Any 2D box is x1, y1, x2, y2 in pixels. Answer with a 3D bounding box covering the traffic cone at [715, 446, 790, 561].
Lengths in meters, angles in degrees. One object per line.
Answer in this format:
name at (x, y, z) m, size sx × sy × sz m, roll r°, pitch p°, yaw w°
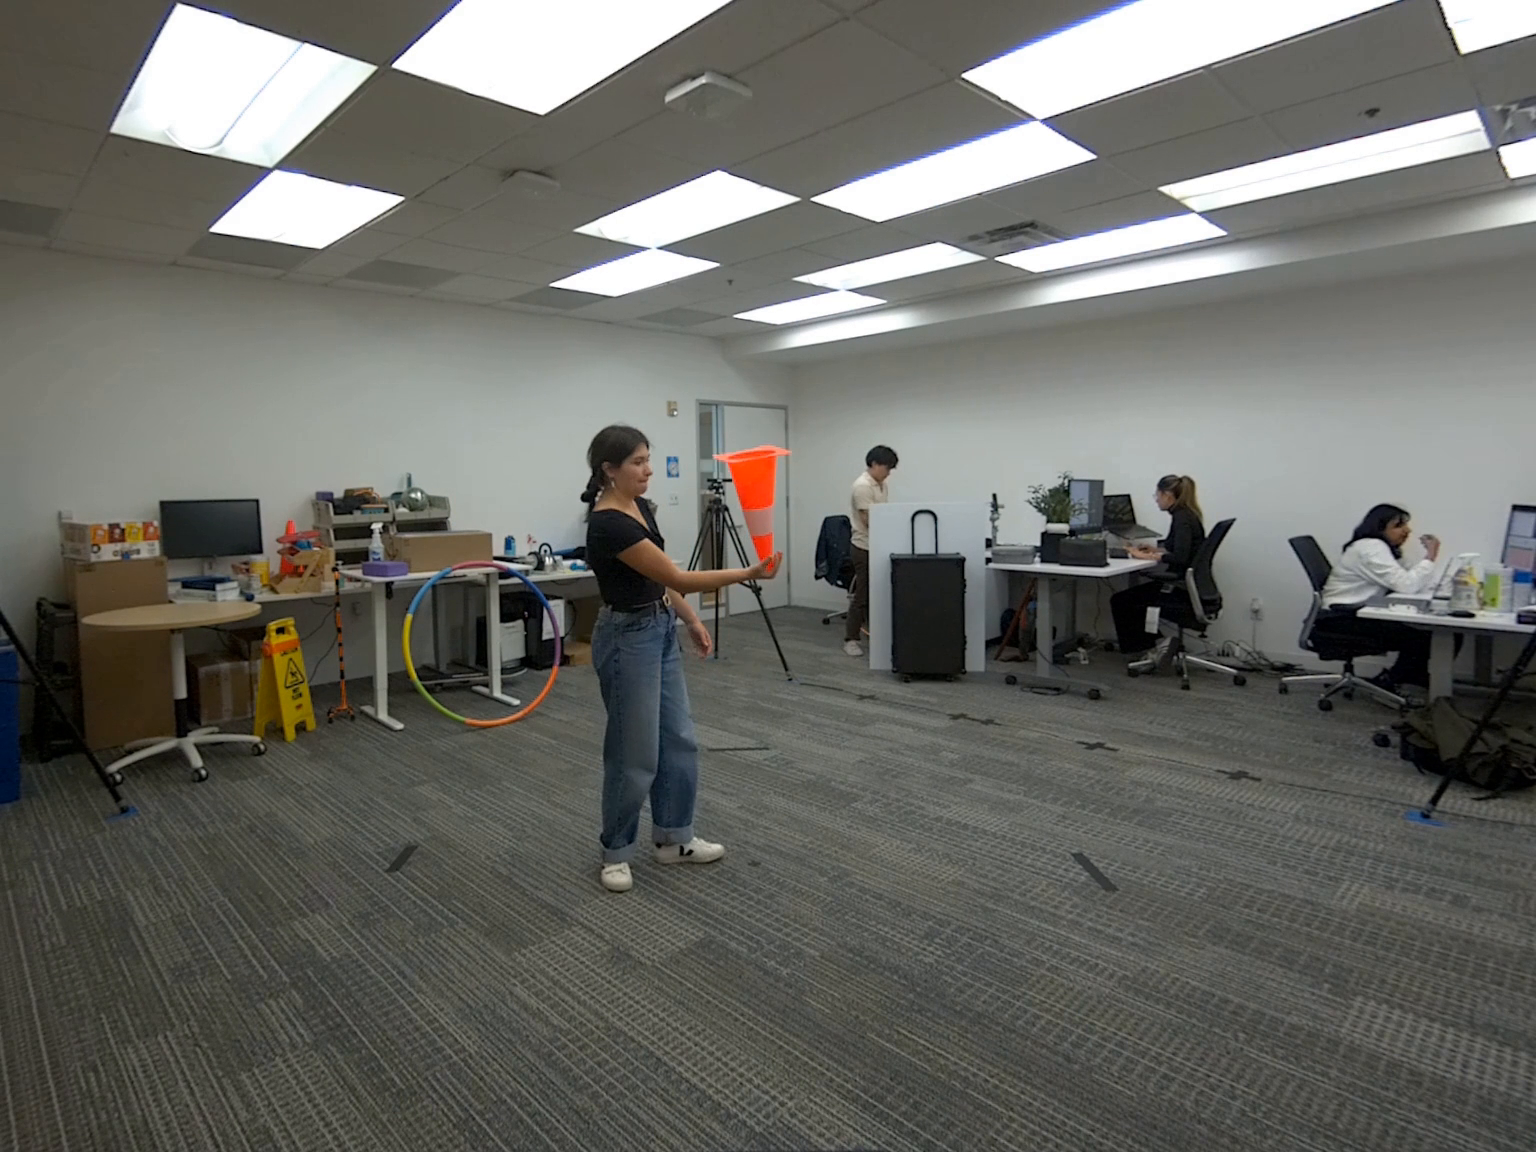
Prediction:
traffic cone at (-0.028, -0.194, 2.717) m, size 0.202 × 0.377 × 0.209 m, roll -13°, pitch 17°, yaw -20°
